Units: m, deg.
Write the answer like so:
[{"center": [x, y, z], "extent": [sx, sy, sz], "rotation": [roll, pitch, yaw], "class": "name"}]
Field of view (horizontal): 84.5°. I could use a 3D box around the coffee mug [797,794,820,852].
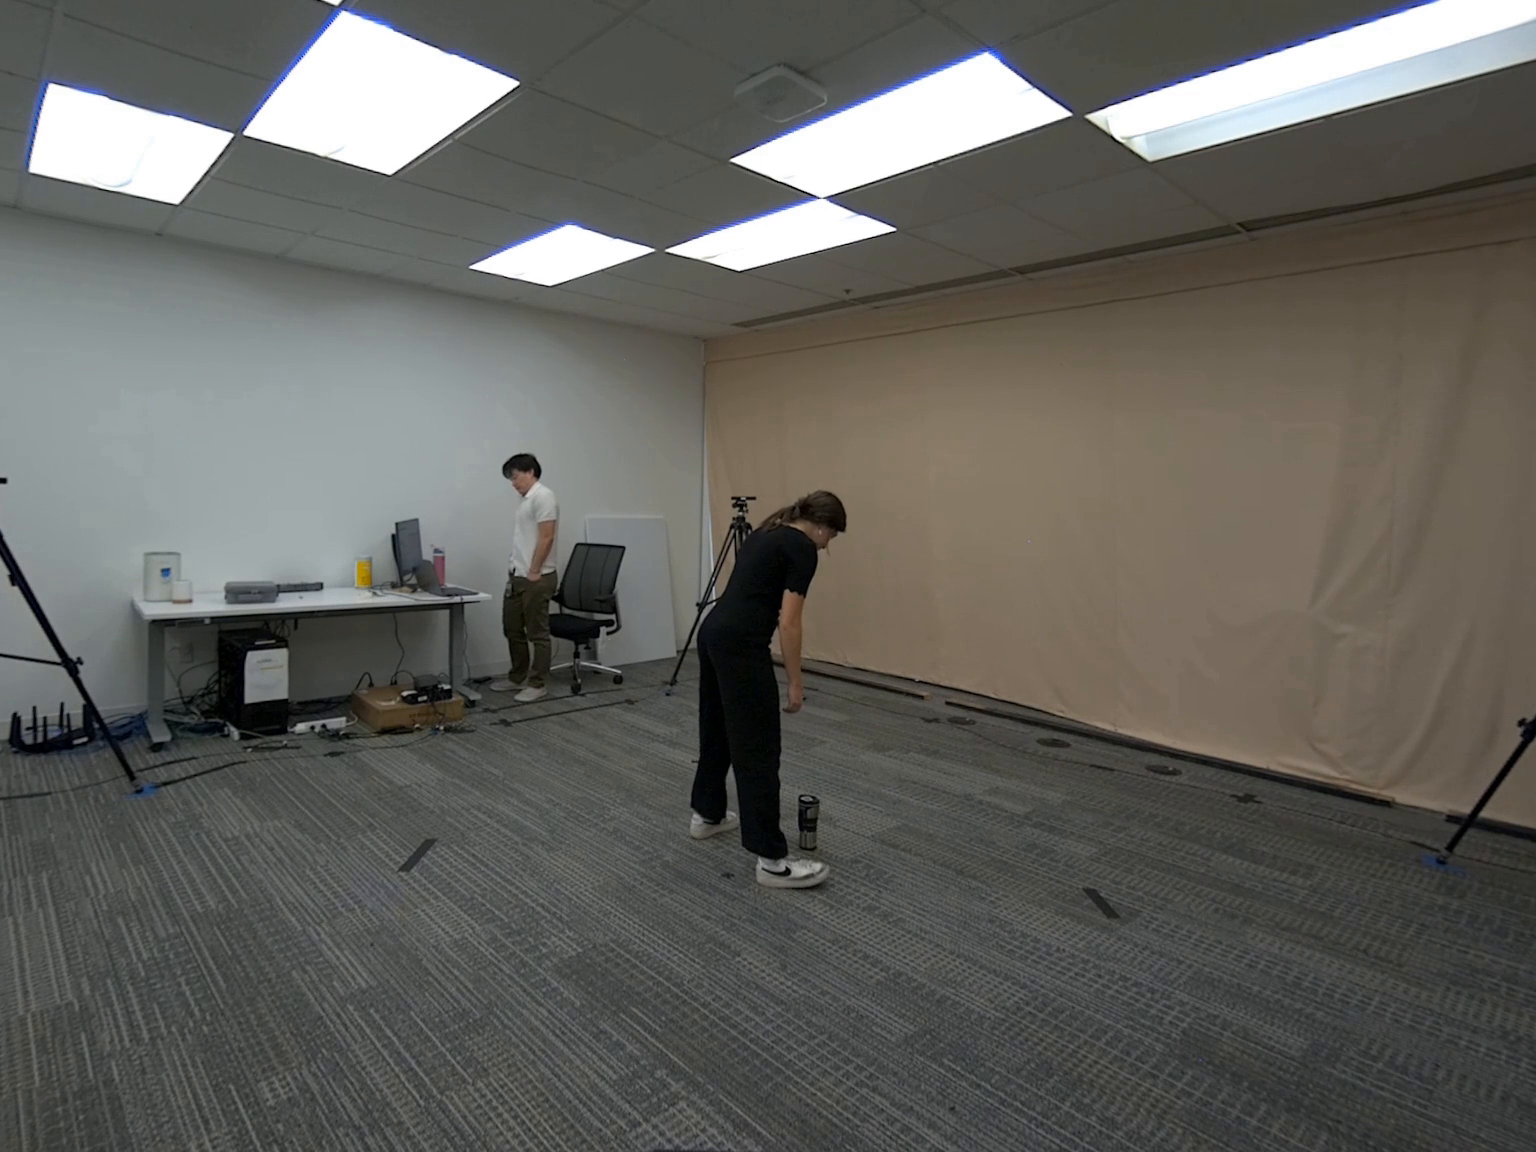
[{"center": [0.131, 0.991, 3.360], "extent": [0.119, 0.202, 0.090], "rotation": [3, 4, -39], "class": "coffee mug"}]
